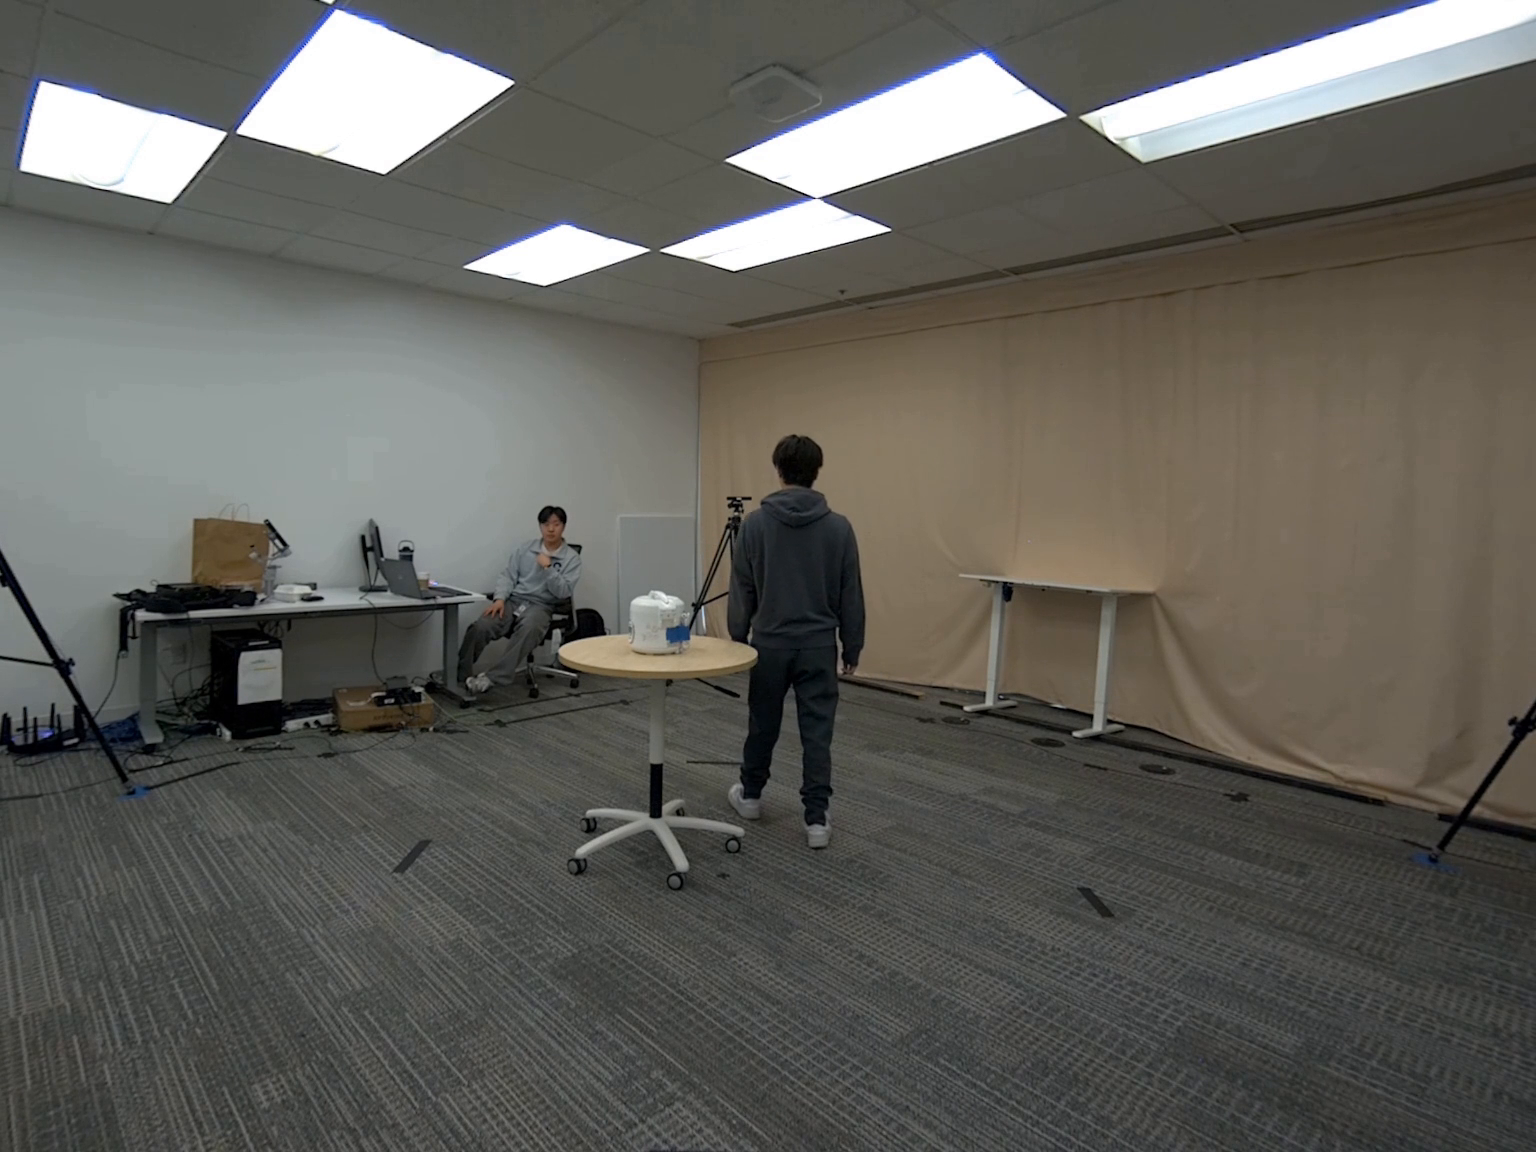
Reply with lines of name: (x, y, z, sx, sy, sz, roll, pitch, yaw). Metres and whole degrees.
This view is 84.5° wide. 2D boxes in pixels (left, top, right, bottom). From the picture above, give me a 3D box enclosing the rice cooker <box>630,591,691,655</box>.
rice cooker: (-0.434, 0.174, 3.234, 0.213, 0.232, 0.225, 1, 4, -28)
